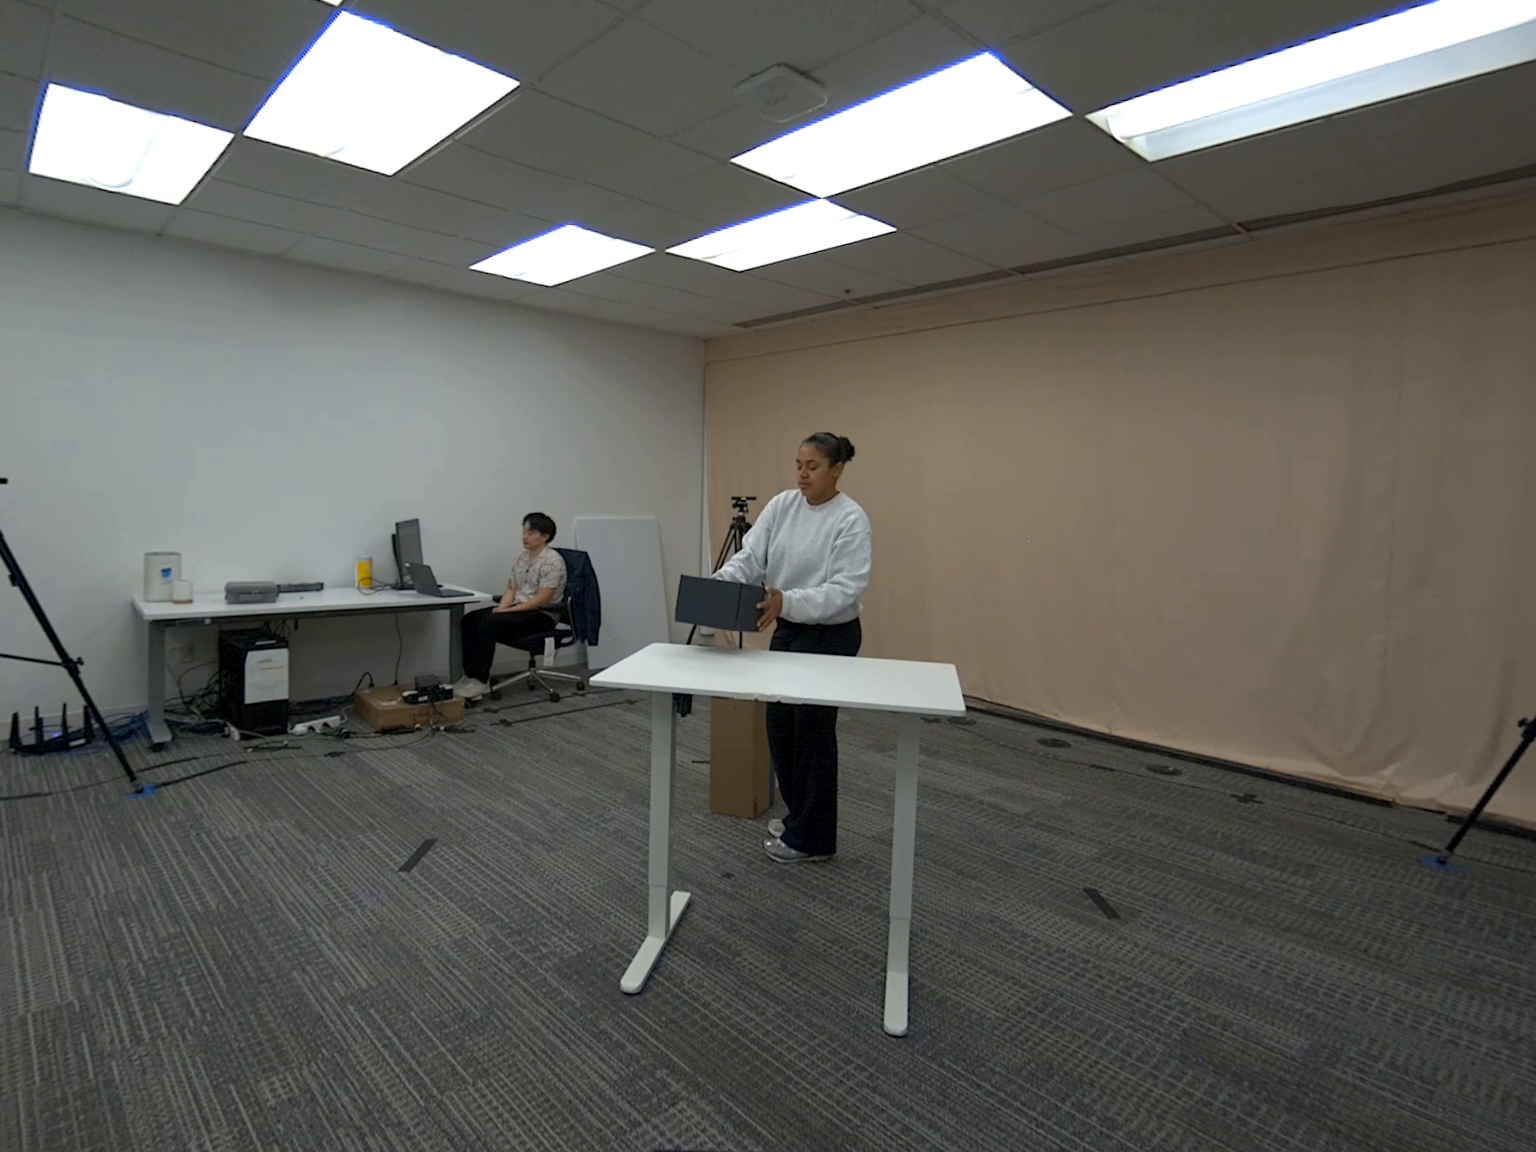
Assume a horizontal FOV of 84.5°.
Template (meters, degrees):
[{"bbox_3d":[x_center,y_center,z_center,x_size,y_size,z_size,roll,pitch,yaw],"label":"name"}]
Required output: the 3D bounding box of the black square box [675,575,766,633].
[{"bbox_3d":[-0.159,0.098,2.811,0.233,0.156,0.212,7,-1,27],"label":"black square box"}]
